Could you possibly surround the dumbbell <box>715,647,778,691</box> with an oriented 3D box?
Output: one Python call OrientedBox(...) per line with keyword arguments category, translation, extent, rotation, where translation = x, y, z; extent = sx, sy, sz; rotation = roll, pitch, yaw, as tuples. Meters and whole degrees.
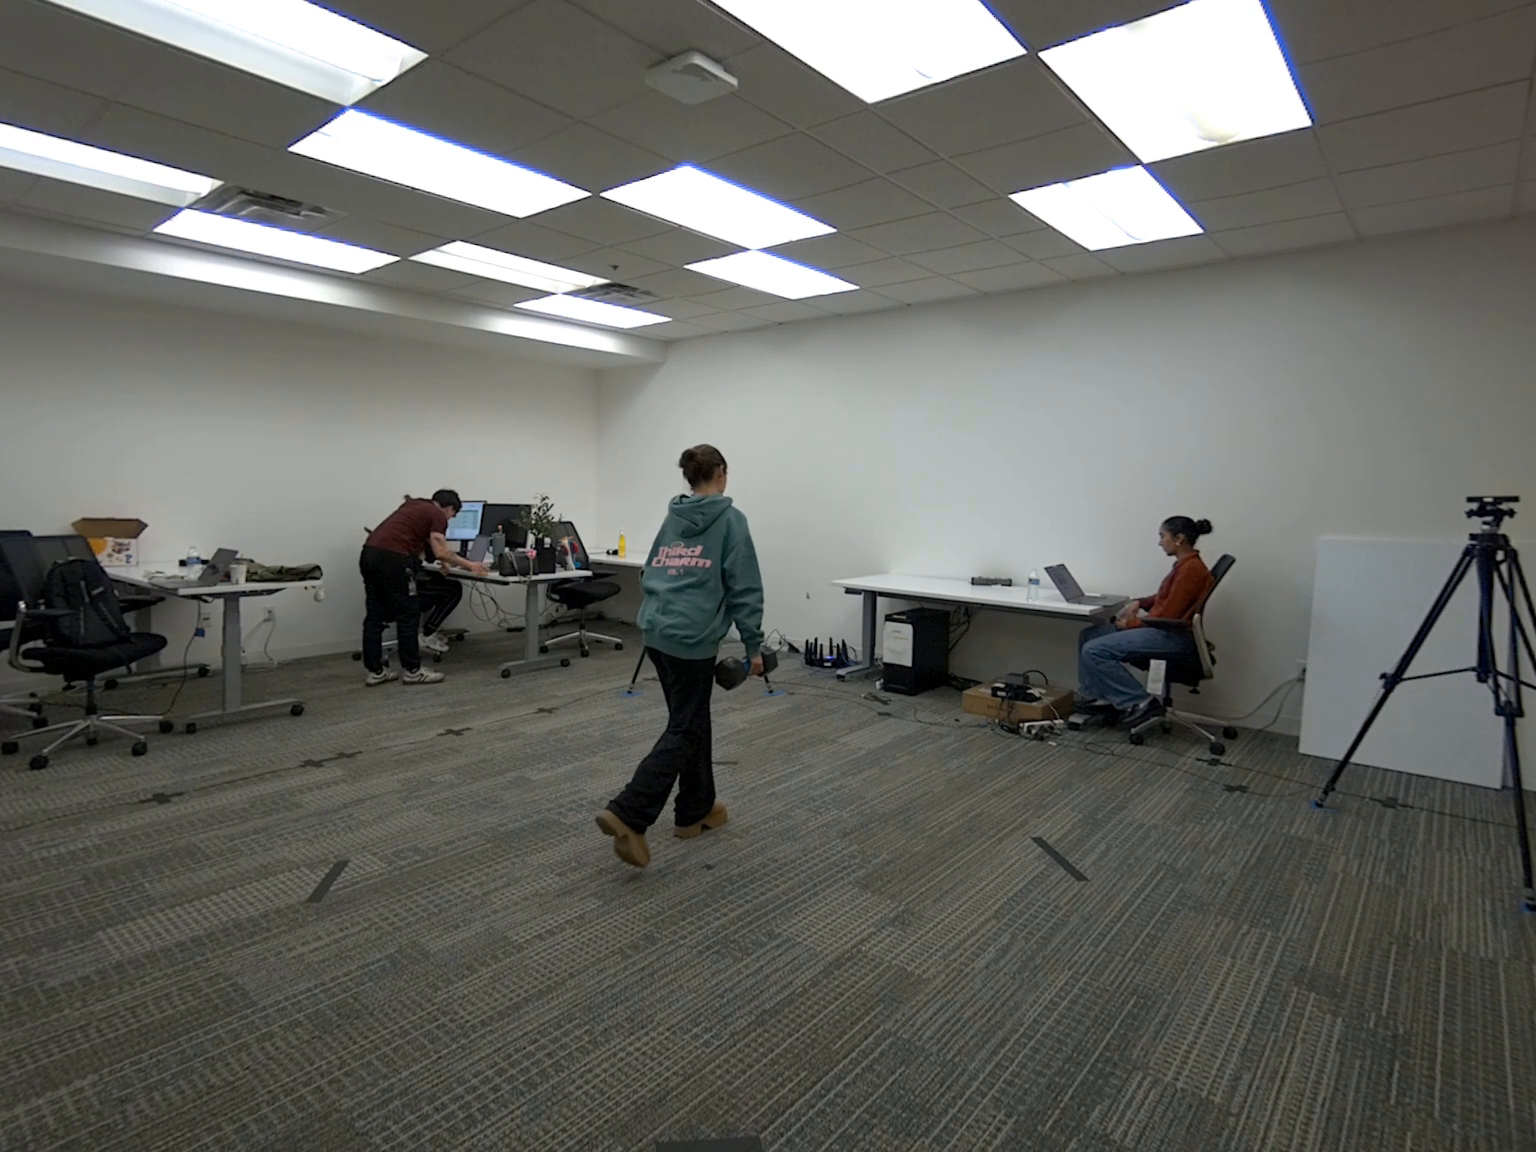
OrientedBox(category="dumbbell", translation=(-0.094, 0.364, 3.316), extent=(0.123, 0.111, 0.286), rotation=(-43, -17, 35))
